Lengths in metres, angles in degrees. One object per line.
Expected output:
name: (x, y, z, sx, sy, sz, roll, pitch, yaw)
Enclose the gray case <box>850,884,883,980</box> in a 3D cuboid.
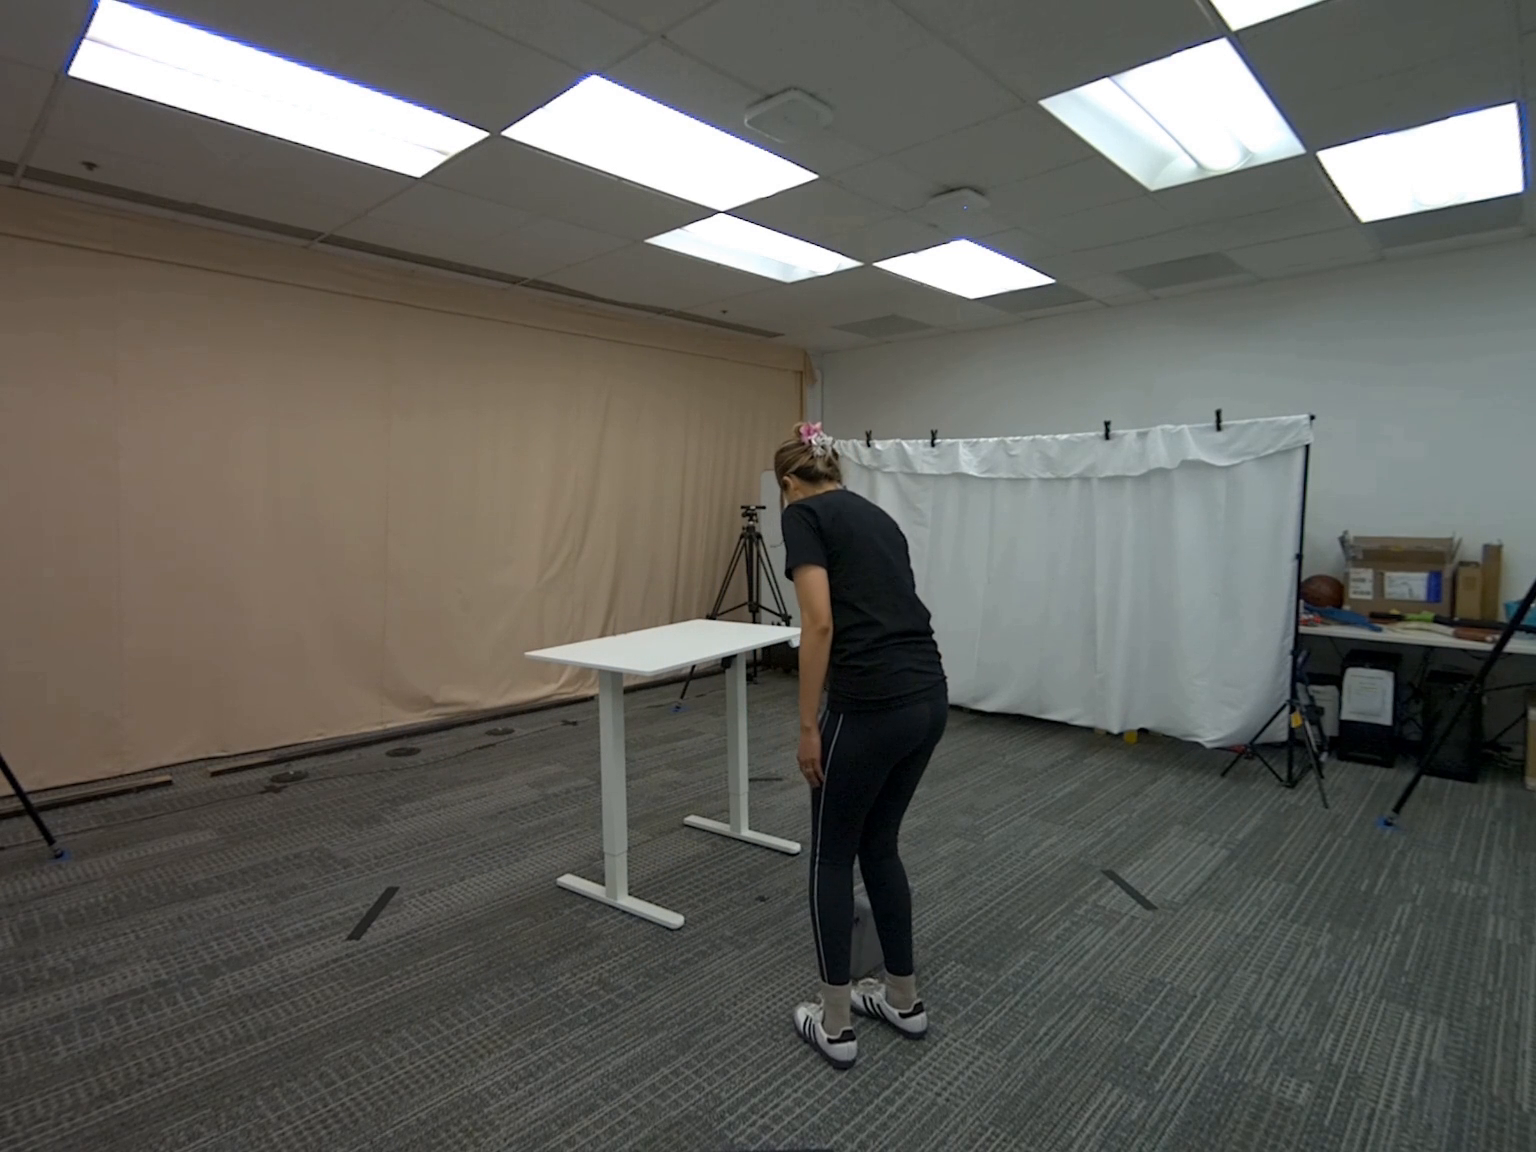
gray case: (0.328, 1.052, 2.548, 0.249, 0.259, 0.108, -3, 14, -42)
